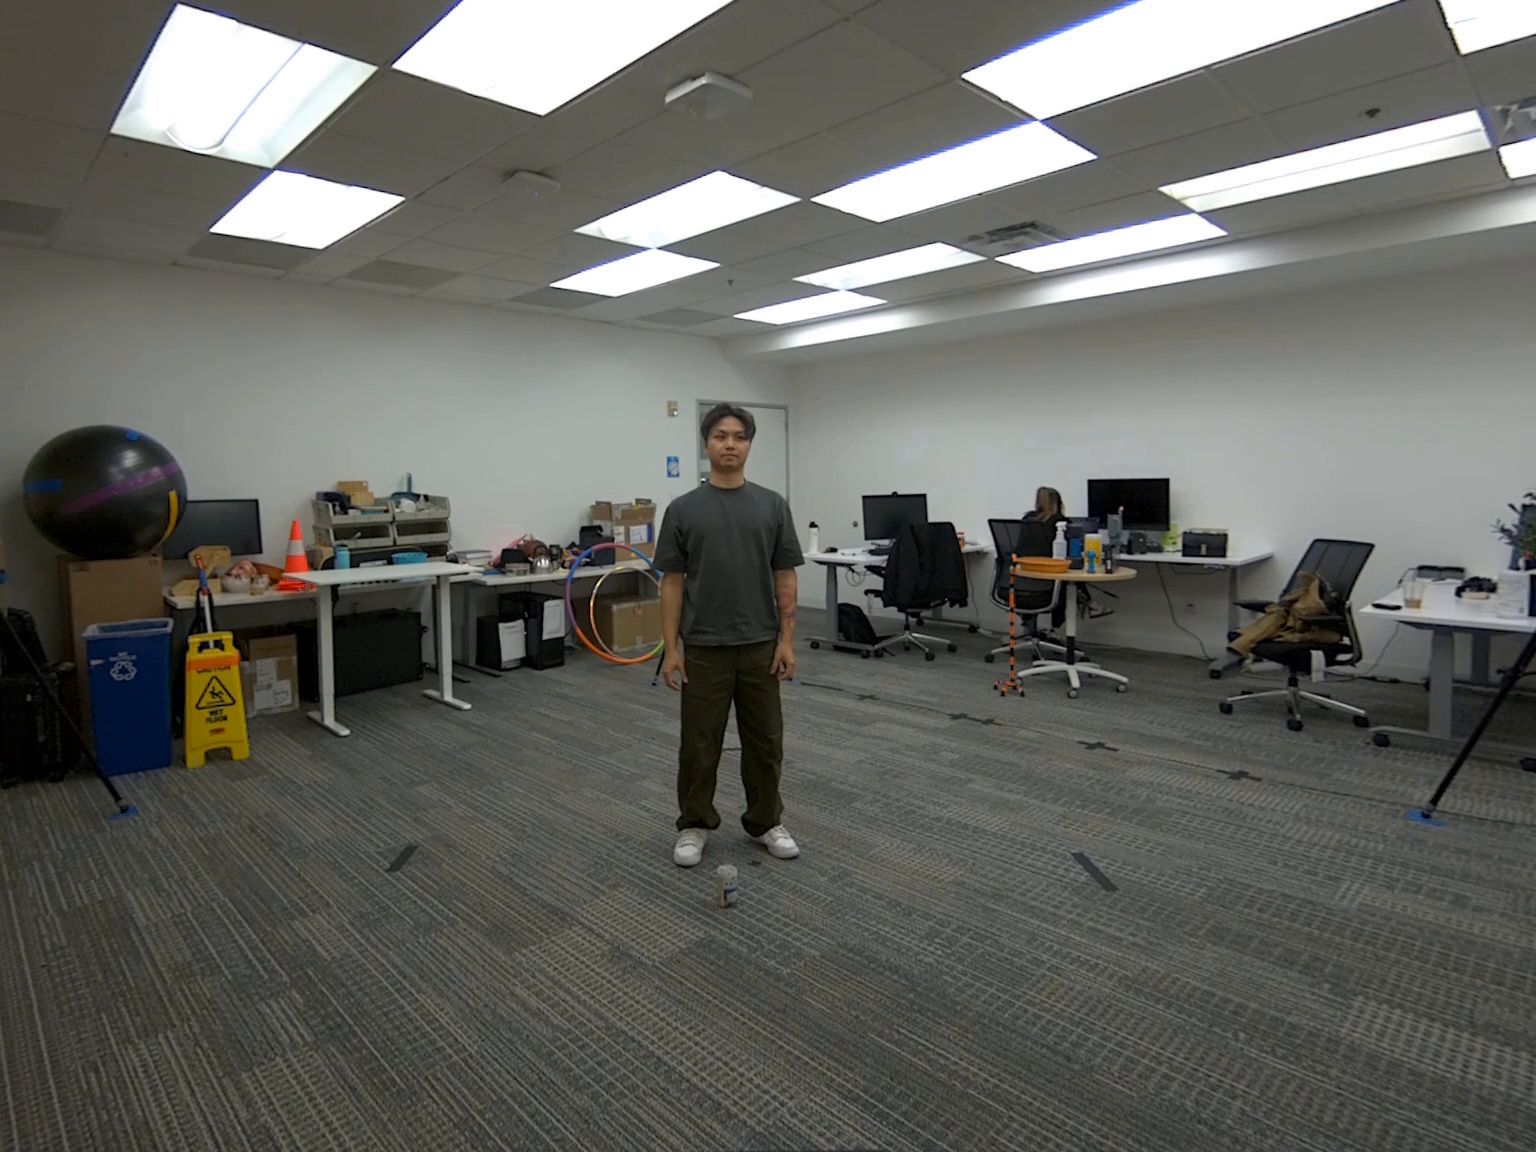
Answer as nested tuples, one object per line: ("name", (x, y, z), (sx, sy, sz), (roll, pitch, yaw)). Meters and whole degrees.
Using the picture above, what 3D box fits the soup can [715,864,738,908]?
("soup can", (-0.127, 1.016, 2.811), (0.067, 0.121, 0.067), (0, 2, -2))
